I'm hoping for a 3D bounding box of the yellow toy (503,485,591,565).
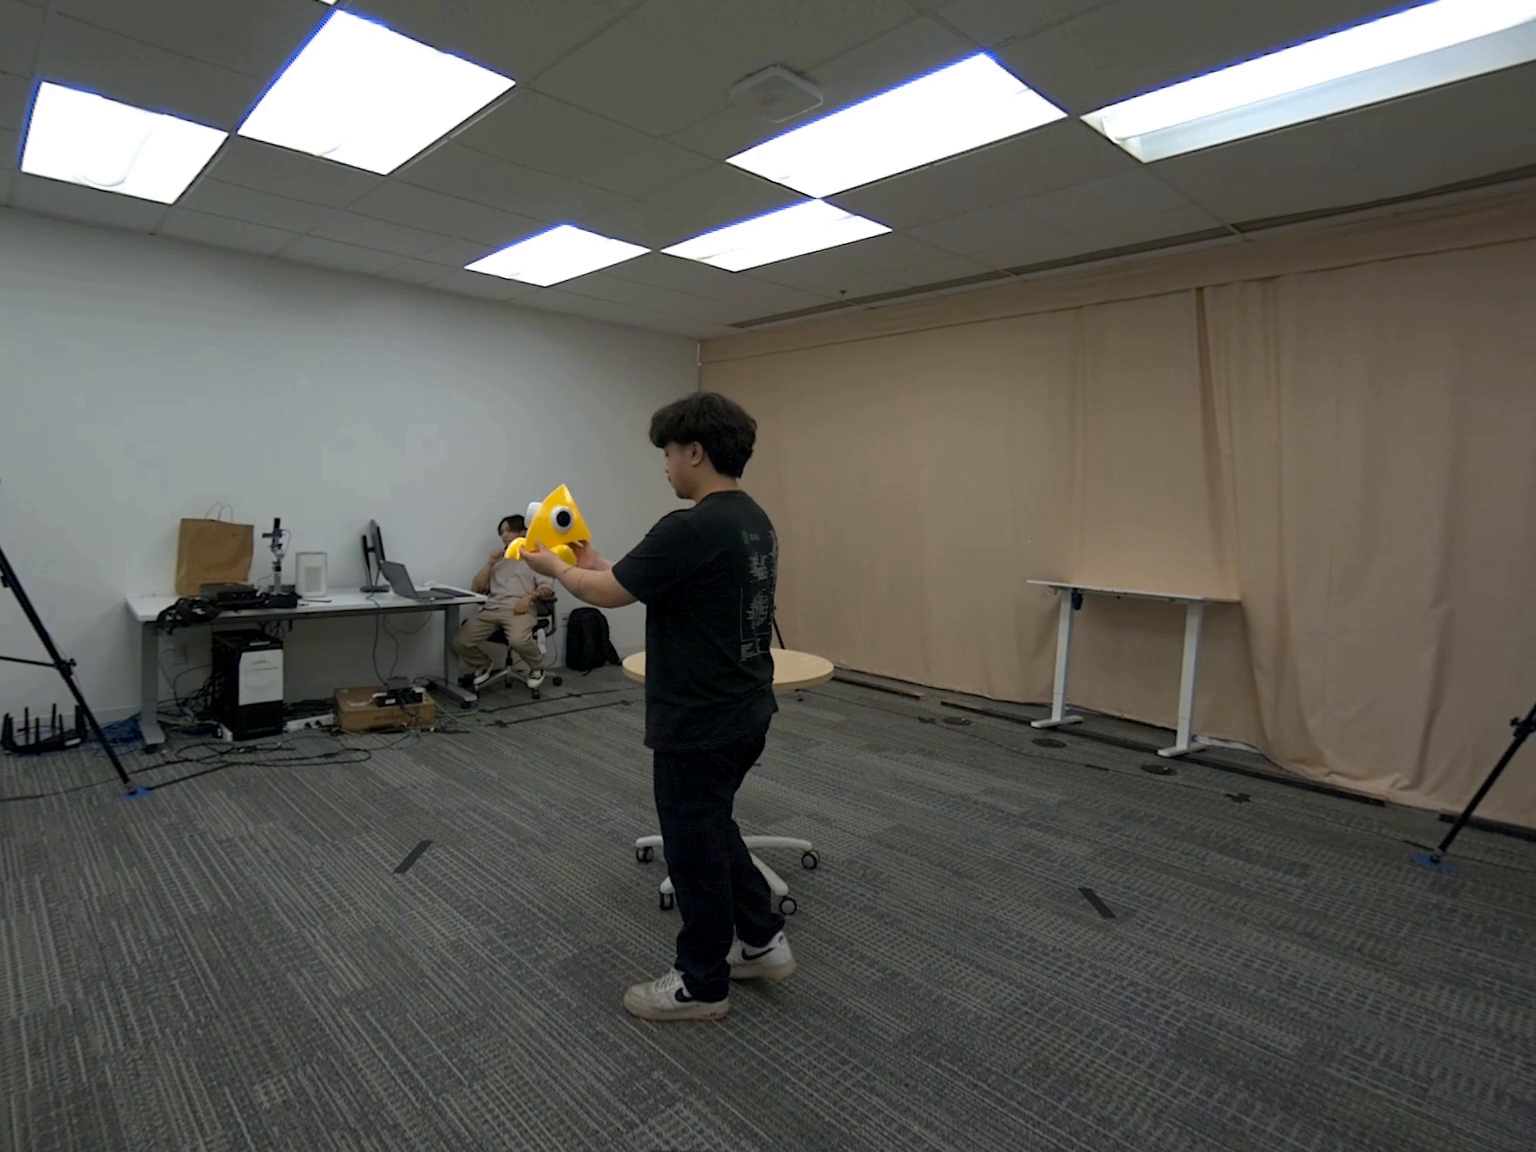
[{"bbox_3d":[-0.658,-0.158,2.466,0.208,0.230,0.190,8,4,21],"label":"yellow toy"}]
